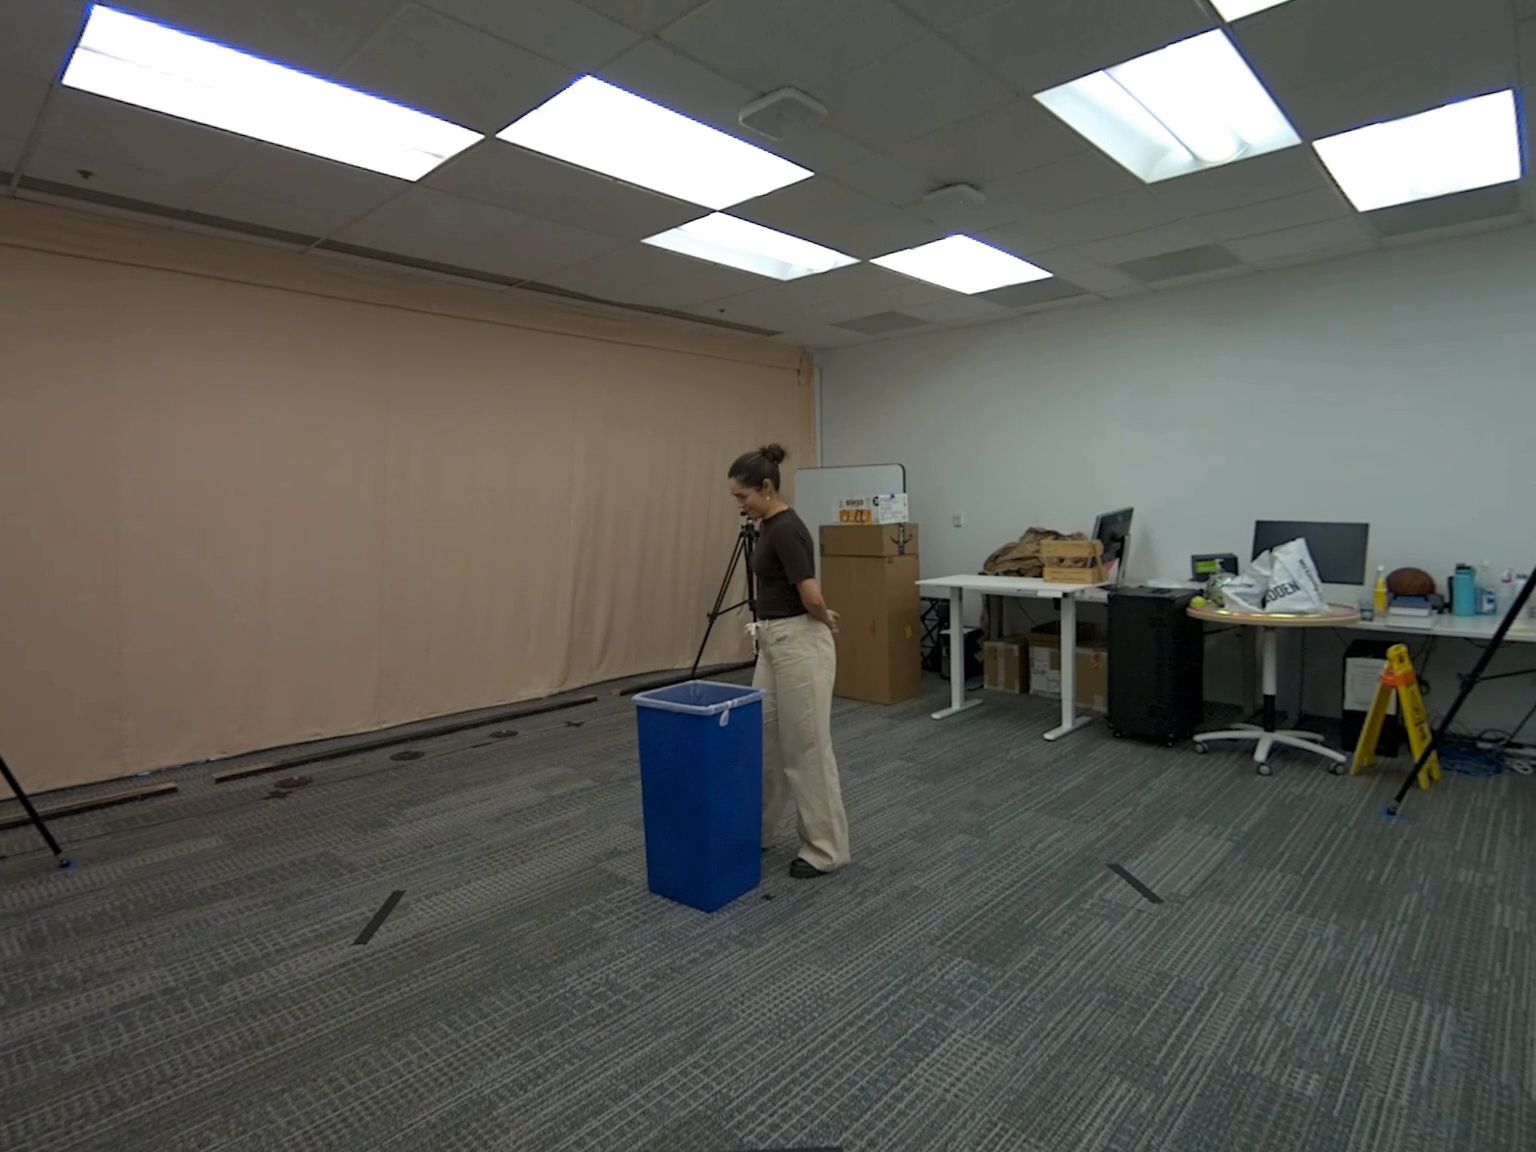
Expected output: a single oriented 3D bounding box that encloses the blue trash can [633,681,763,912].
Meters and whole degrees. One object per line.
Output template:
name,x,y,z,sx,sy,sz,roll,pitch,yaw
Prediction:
blue trash can,-0.242,0.777,3.068,0.390,0.712,0.363,0,4,37
